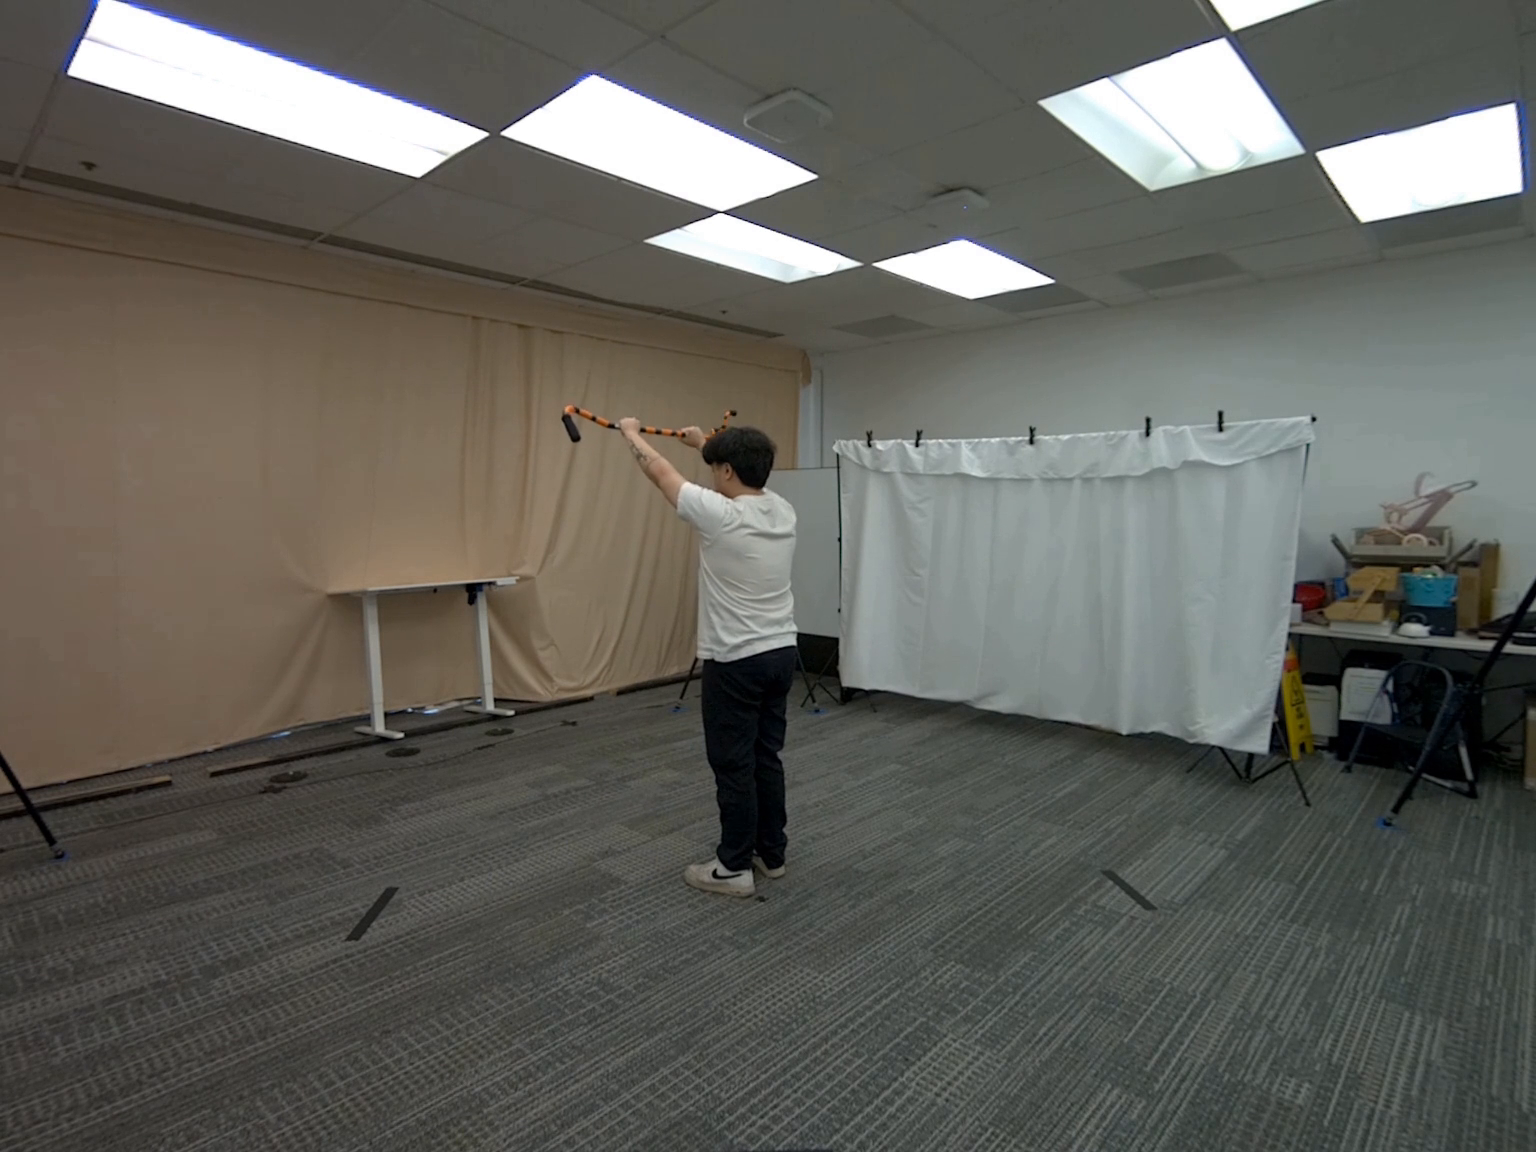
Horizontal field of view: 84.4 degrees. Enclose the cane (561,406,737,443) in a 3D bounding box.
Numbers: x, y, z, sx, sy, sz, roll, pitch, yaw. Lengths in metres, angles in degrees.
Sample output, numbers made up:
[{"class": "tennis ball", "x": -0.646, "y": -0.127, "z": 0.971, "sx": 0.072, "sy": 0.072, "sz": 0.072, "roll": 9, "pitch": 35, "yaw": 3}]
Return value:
[{"class": "cane", "x": -0.427, "y": -0.582, "z": 3.329, "sx": 0.880, "sy": 0.211, "sz": 0.153, "roll": -4, "pitch": -30, "yaw": -49}]
